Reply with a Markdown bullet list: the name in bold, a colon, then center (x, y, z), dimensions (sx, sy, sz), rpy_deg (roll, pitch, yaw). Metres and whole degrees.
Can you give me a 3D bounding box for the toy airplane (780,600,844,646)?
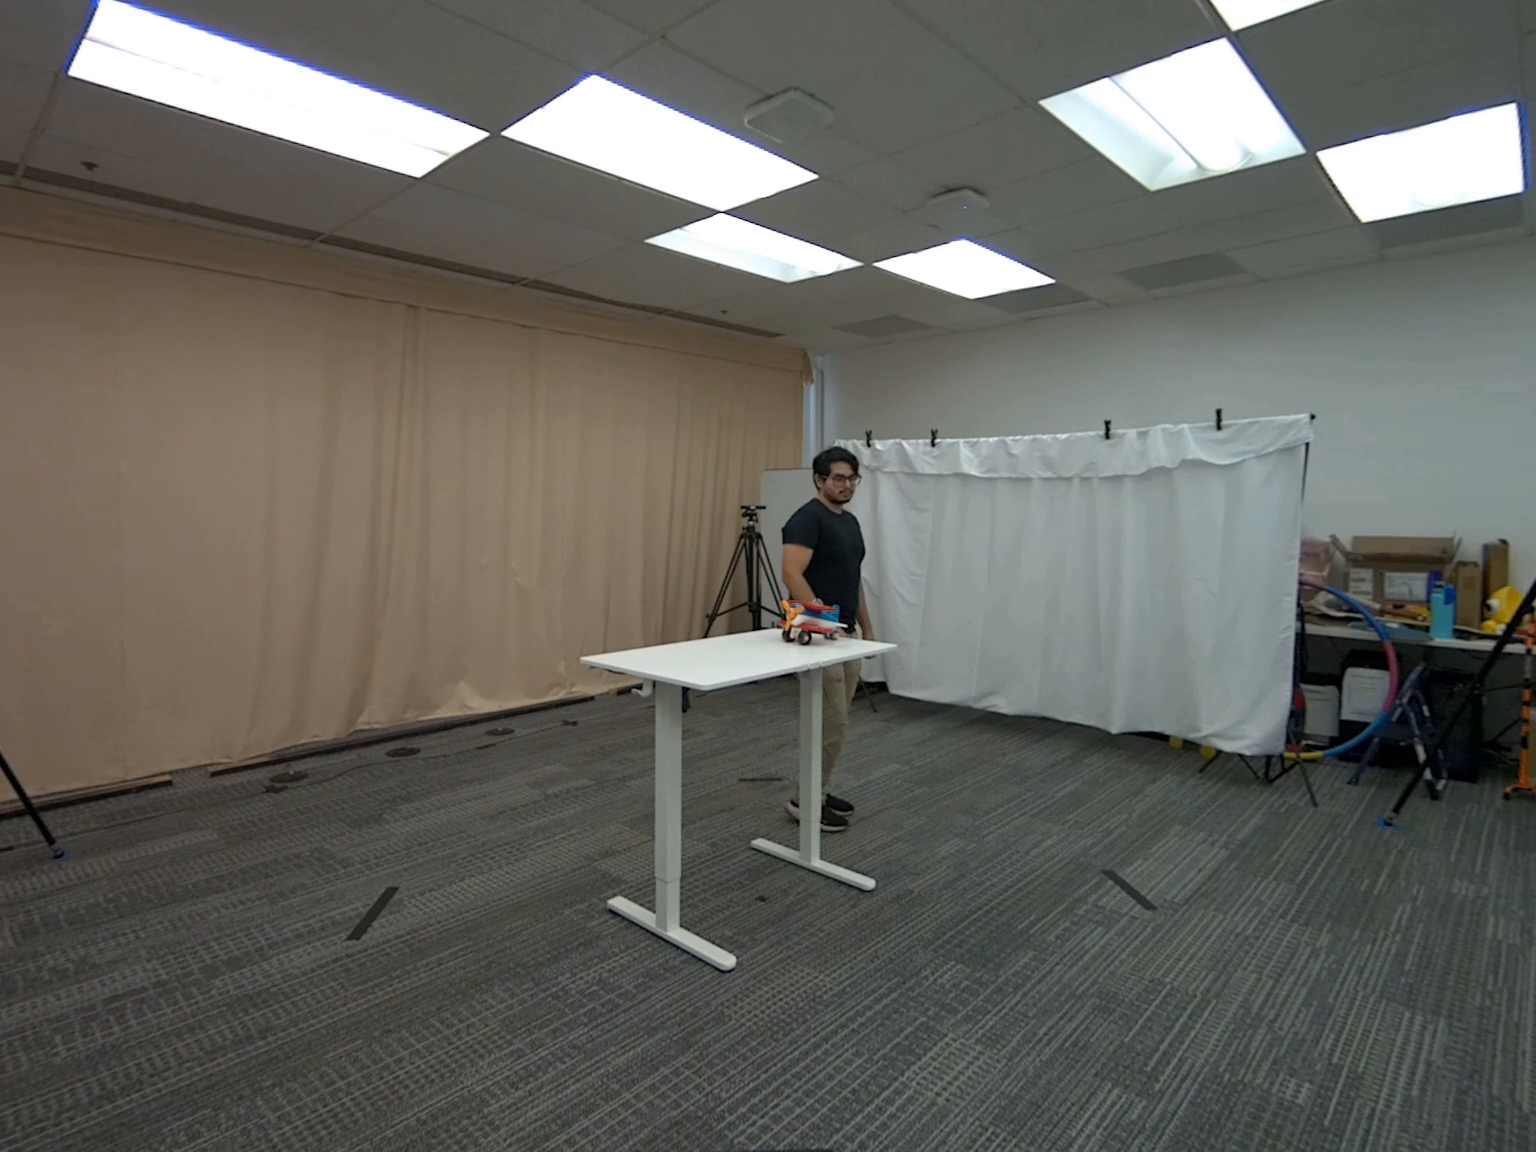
- **toy airplane**: center (0.160, 0.169, 3.173), dimensions (0.257, 0.156, 0.254), rpy_deg (4, 7, 23)
